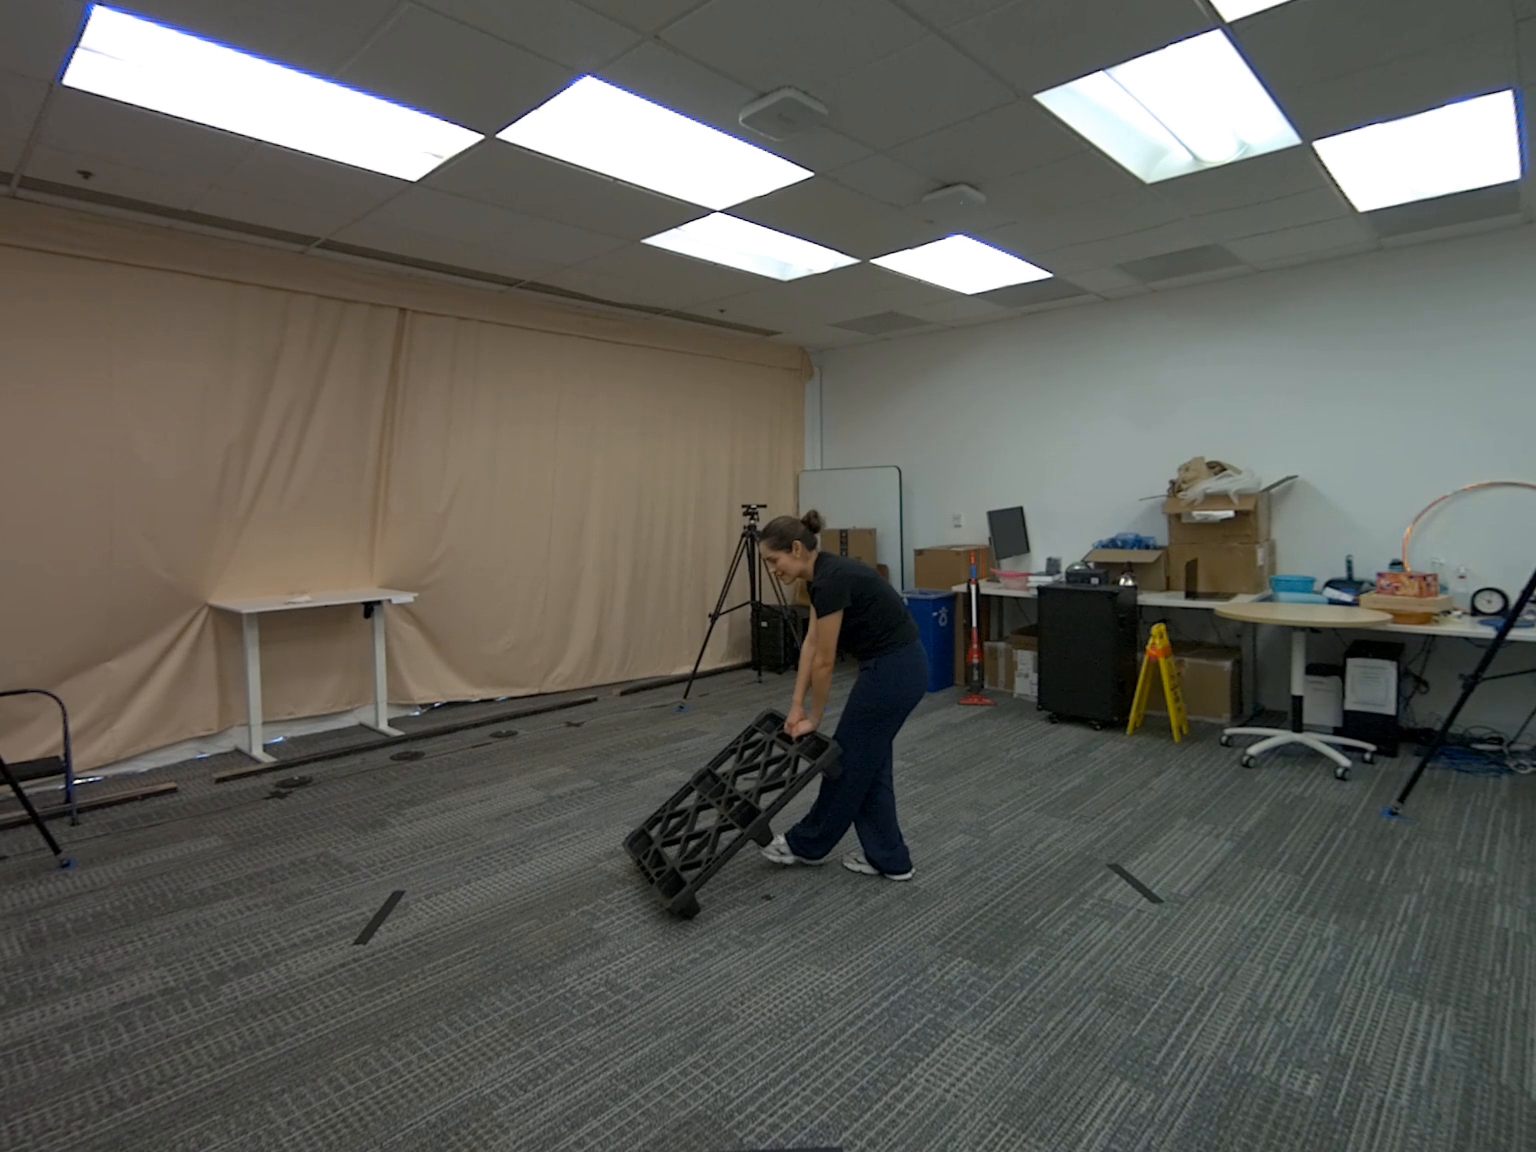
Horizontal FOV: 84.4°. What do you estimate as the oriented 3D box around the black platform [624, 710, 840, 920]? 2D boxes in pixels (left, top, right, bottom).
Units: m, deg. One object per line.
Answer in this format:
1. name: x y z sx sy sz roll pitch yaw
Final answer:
1. black platform: -0.113 0.858 3.119 0.801 0.140 0.620 -42 19 -15
